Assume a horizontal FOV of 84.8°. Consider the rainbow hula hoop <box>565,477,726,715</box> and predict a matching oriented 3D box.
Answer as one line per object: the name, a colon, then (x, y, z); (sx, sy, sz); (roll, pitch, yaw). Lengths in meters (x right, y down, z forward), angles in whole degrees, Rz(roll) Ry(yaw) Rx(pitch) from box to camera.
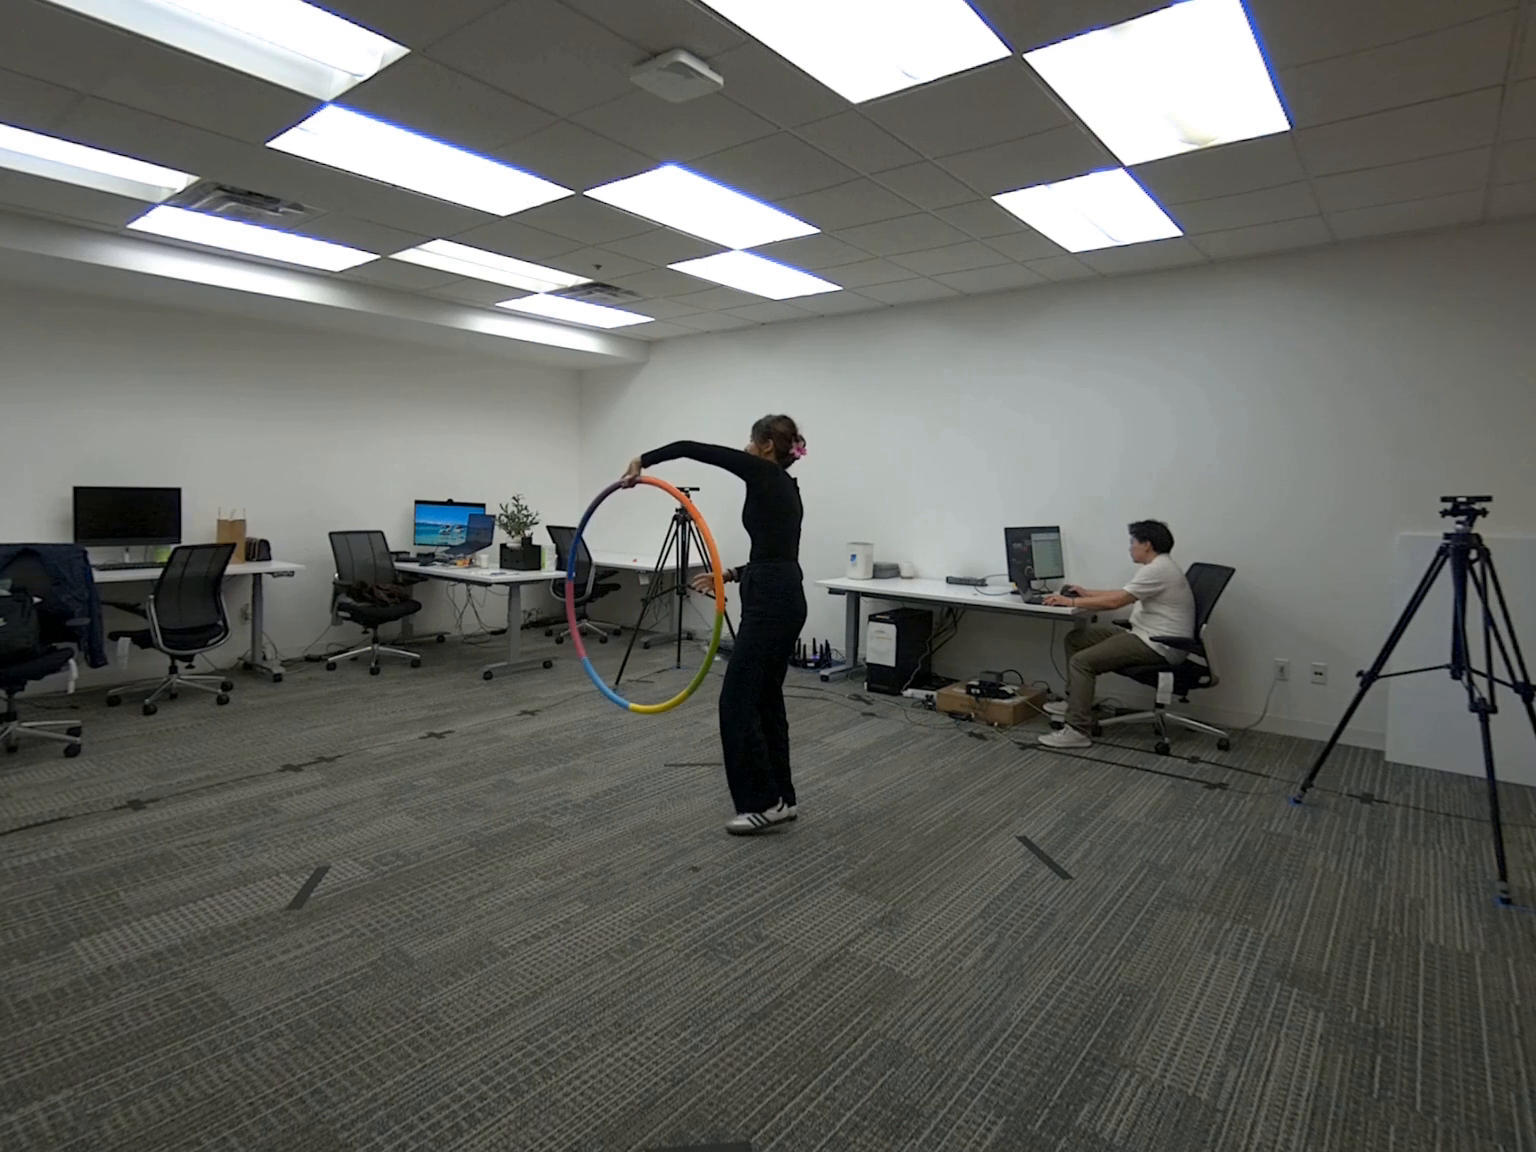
rainbow hula hoop: (-0.558, 0.074, 3.564); (1.019, 0.984, 0.050); (4, 2, 42)
